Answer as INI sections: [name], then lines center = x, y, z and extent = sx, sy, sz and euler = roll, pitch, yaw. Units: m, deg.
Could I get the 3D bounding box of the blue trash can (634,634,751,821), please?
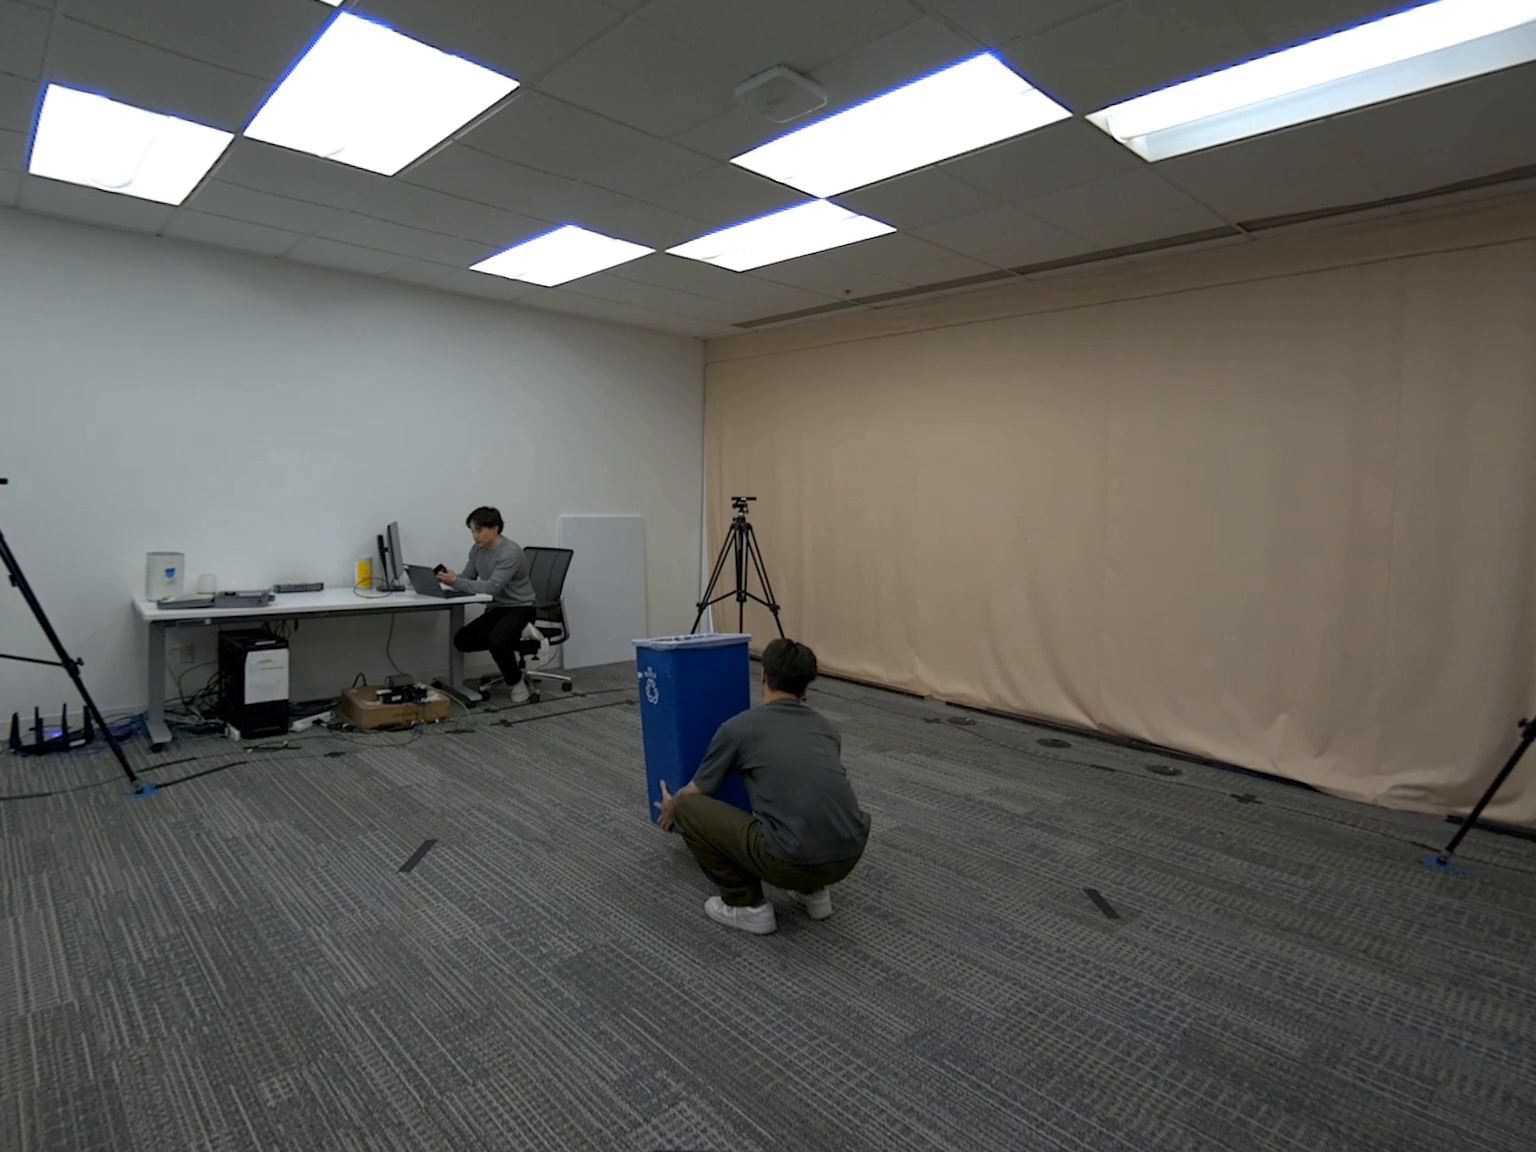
[blue trash can]
center = -0.294, 0.593, 3.282
extent = 0.366, 0.715, 0.385
euler = -1, -3, -34
